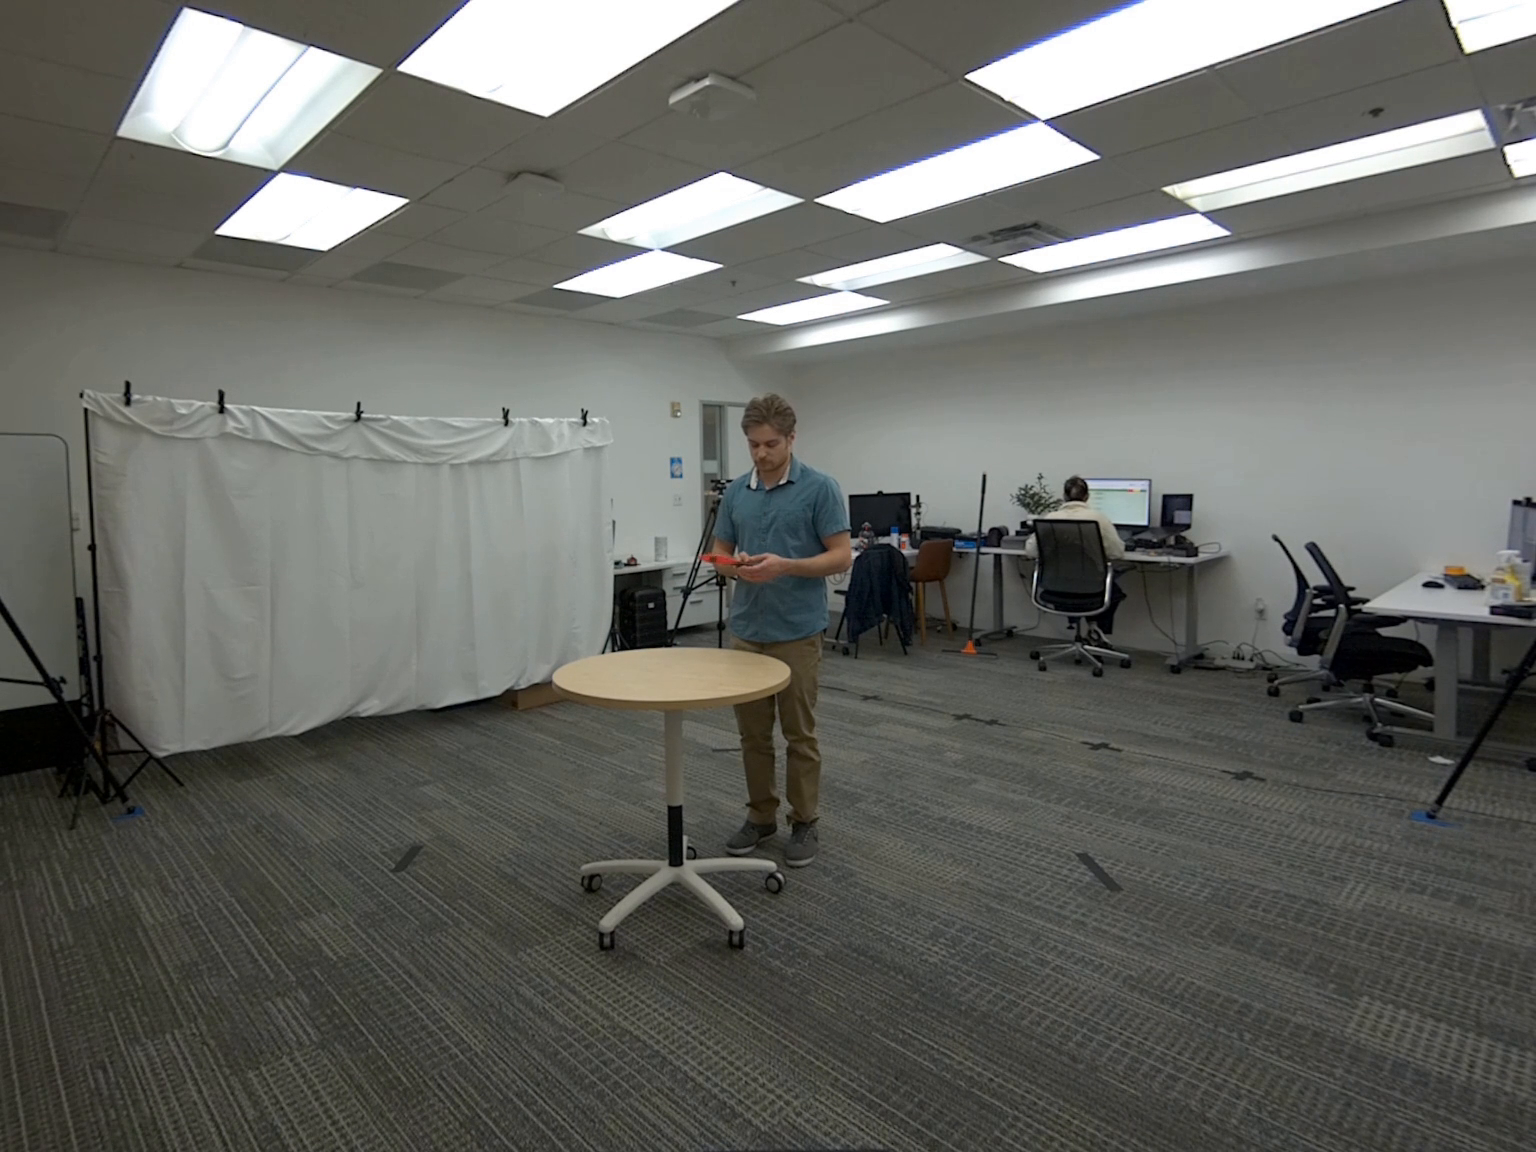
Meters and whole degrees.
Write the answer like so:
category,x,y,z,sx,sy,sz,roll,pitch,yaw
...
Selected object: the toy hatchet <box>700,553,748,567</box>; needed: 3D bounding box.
category,x,y,z,sx,sy,sz,roll,pitch,yaw
toy hatchet,-0.097,-0.046,2.873,0.262,0.029,0.135,4,-2,-40
